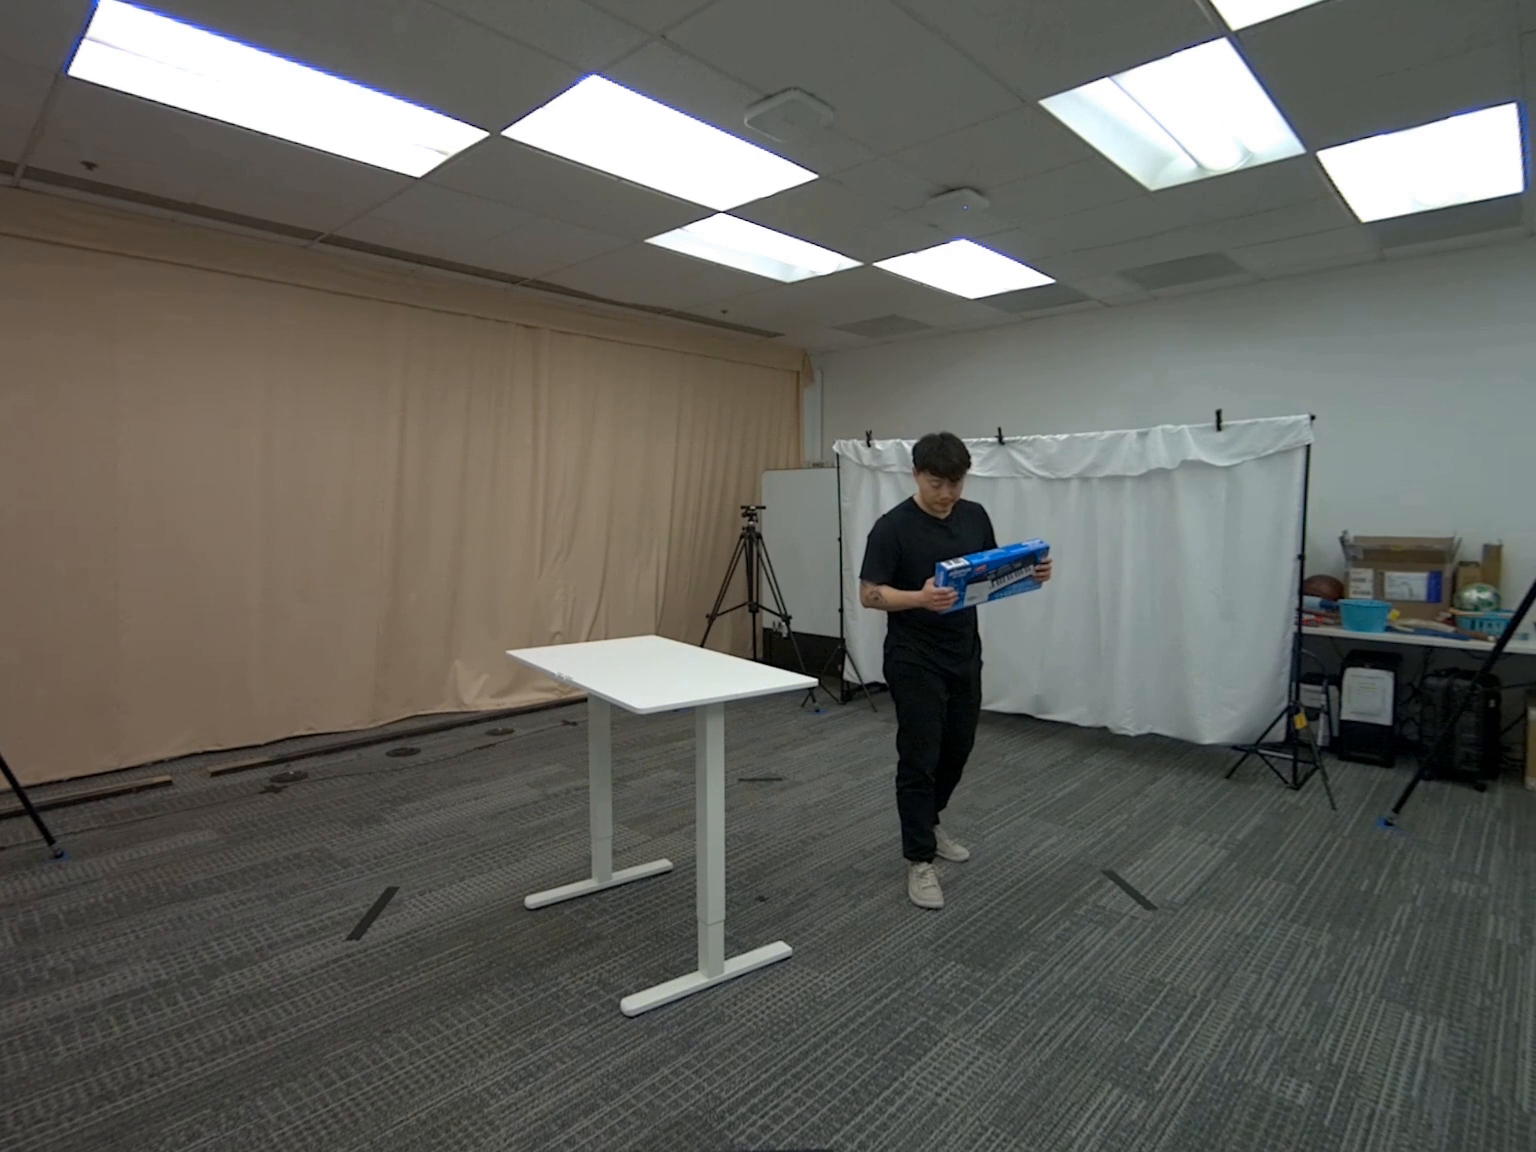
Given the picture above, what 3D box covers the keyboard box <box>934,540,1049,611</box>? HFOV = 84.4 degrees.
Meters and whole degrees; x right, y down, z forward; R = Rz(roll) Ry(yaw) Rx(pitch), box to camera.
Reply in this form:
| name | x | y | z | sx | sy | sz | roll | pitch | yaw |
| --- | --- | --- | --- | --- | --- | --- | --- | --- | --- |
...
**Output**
| name | x | y | z | sx | sy | sz | roll | pitch | yaw |
| --- | --- | --- | --- | --- | --- | --- | --- | --- | --- |
| keyboard box | 0.760 | 0.004 | 2.883 | 0.429 | 0.173 | 0.061 | -13 | 32 | -21 |
